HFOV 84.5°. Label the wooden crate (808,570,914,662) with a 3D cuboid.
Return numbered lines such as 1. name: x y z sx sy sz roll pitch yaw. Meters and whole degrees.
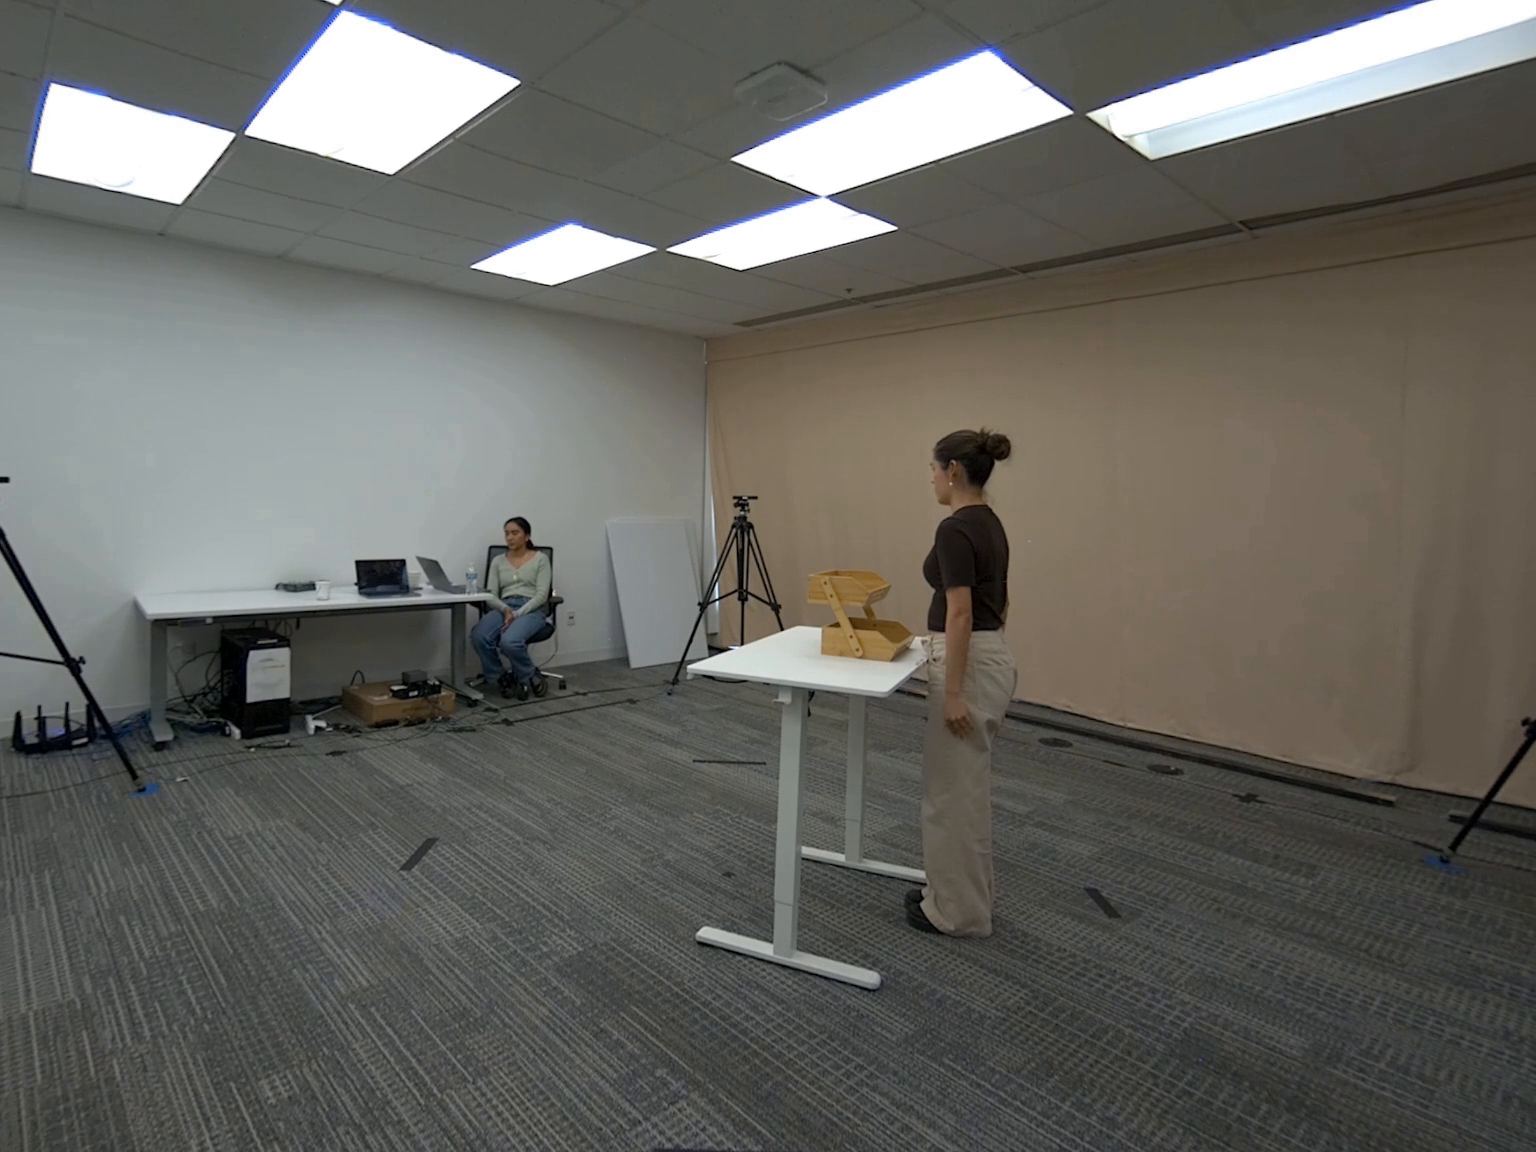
1. wooden crate: 0.322 0.123 2.859 0.307 0.273 0.319 3 4 22
